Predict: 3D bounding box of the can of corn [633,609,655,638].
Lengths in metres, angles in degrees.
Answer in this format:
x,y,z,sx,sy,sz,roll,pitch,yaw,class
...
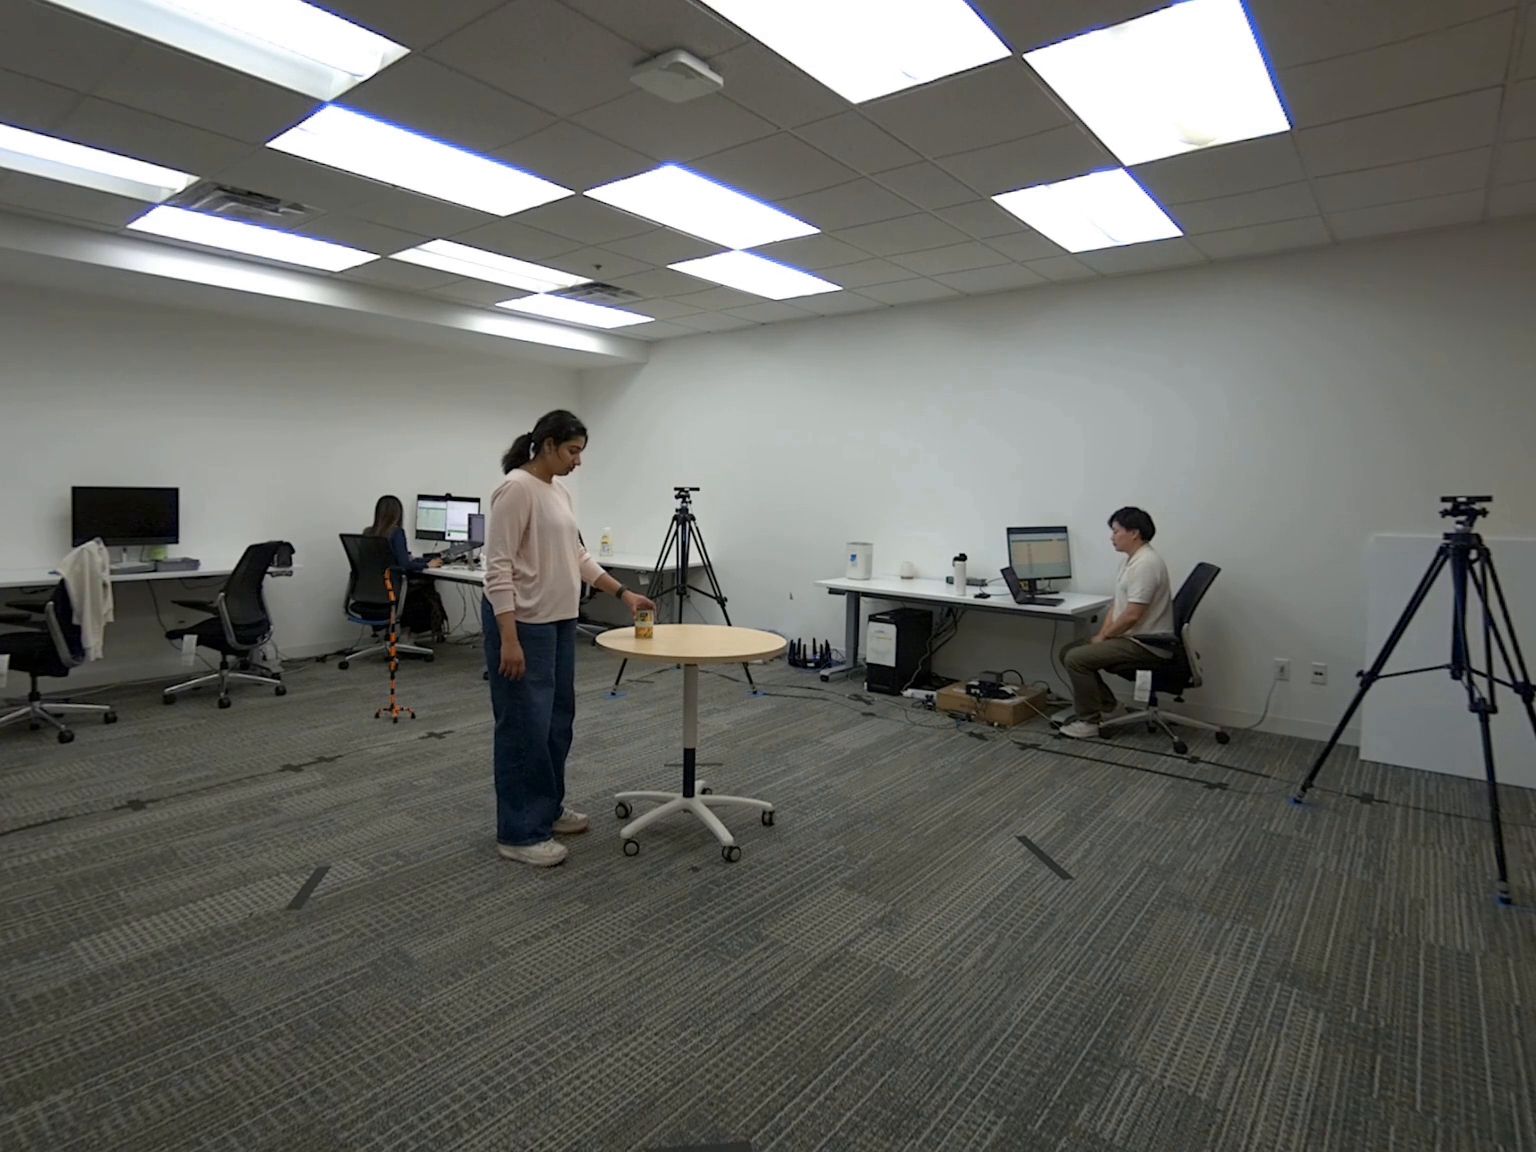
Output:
x,y,z,sx,sy,sz,roll,pitch,yaw,class
-0.515,0.191,3.431,0.074,0.111,0.074,-3,4,-2,can of corn
